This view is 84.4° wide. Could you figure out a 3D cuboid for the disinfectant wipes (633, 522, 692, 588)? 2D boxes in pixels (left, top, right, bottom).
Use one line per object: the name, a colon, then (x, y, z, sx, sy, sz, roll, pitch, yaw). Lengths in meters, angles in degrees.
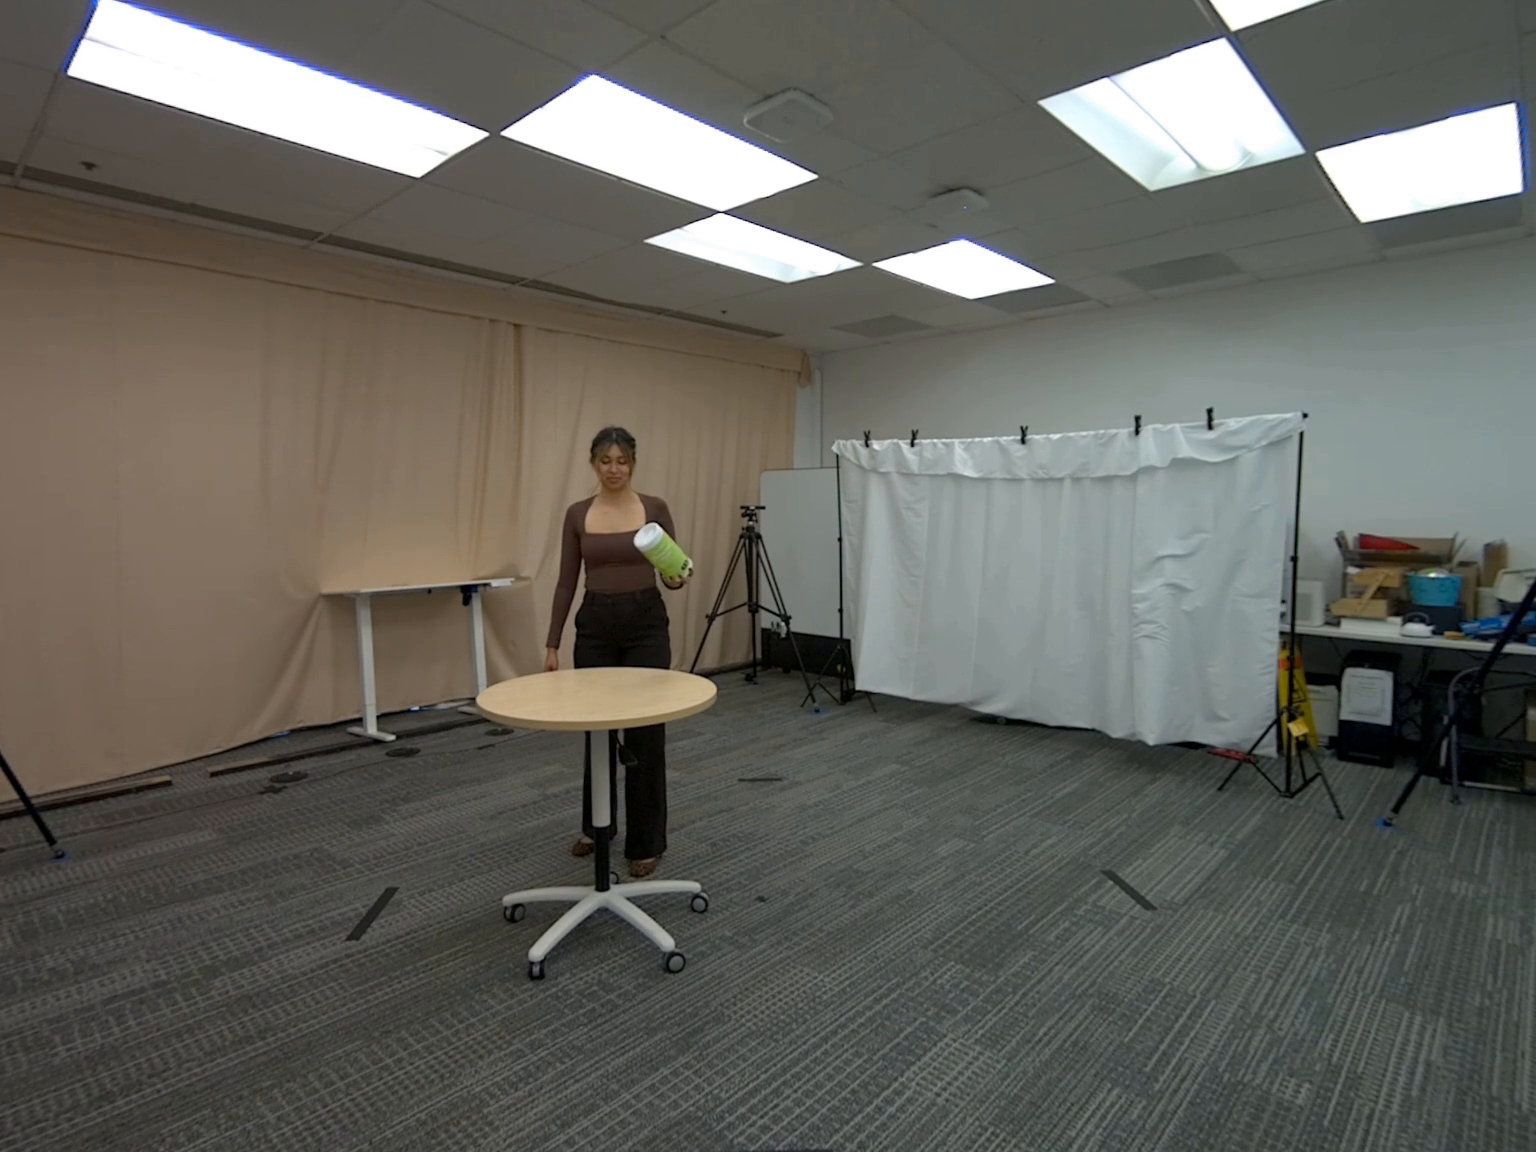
disinfectant wipes: (-0.376, -0.080, 2.982, 0.122, 0.118, 0.210, 3, -37, 42)
